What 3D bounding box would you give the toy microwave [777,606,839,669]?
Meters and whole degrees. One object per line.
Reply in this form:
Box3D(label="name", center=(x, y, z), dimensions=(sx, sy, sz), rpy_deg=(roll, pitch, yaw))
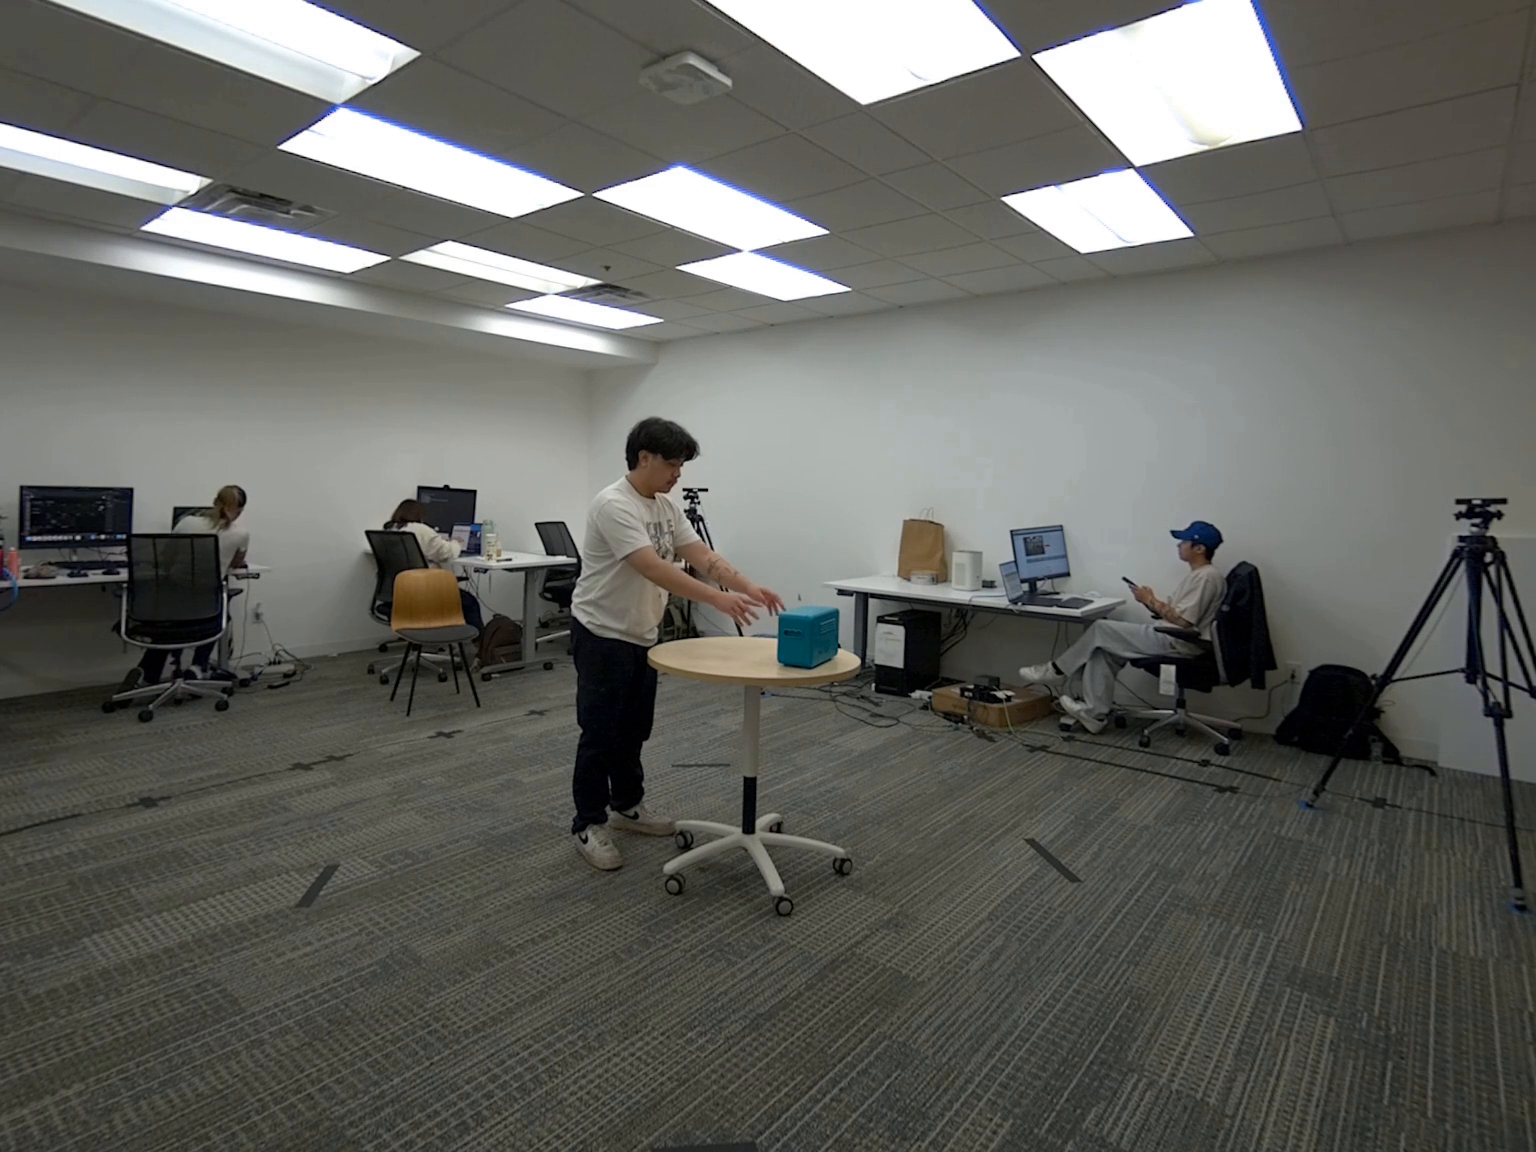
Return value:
Box3D(label="toy microwave", center=(0.129, 0.206, 2.984), dimensions=(0.156, 0.183, 0.280), rpy_deg=(3, 5, 25))
